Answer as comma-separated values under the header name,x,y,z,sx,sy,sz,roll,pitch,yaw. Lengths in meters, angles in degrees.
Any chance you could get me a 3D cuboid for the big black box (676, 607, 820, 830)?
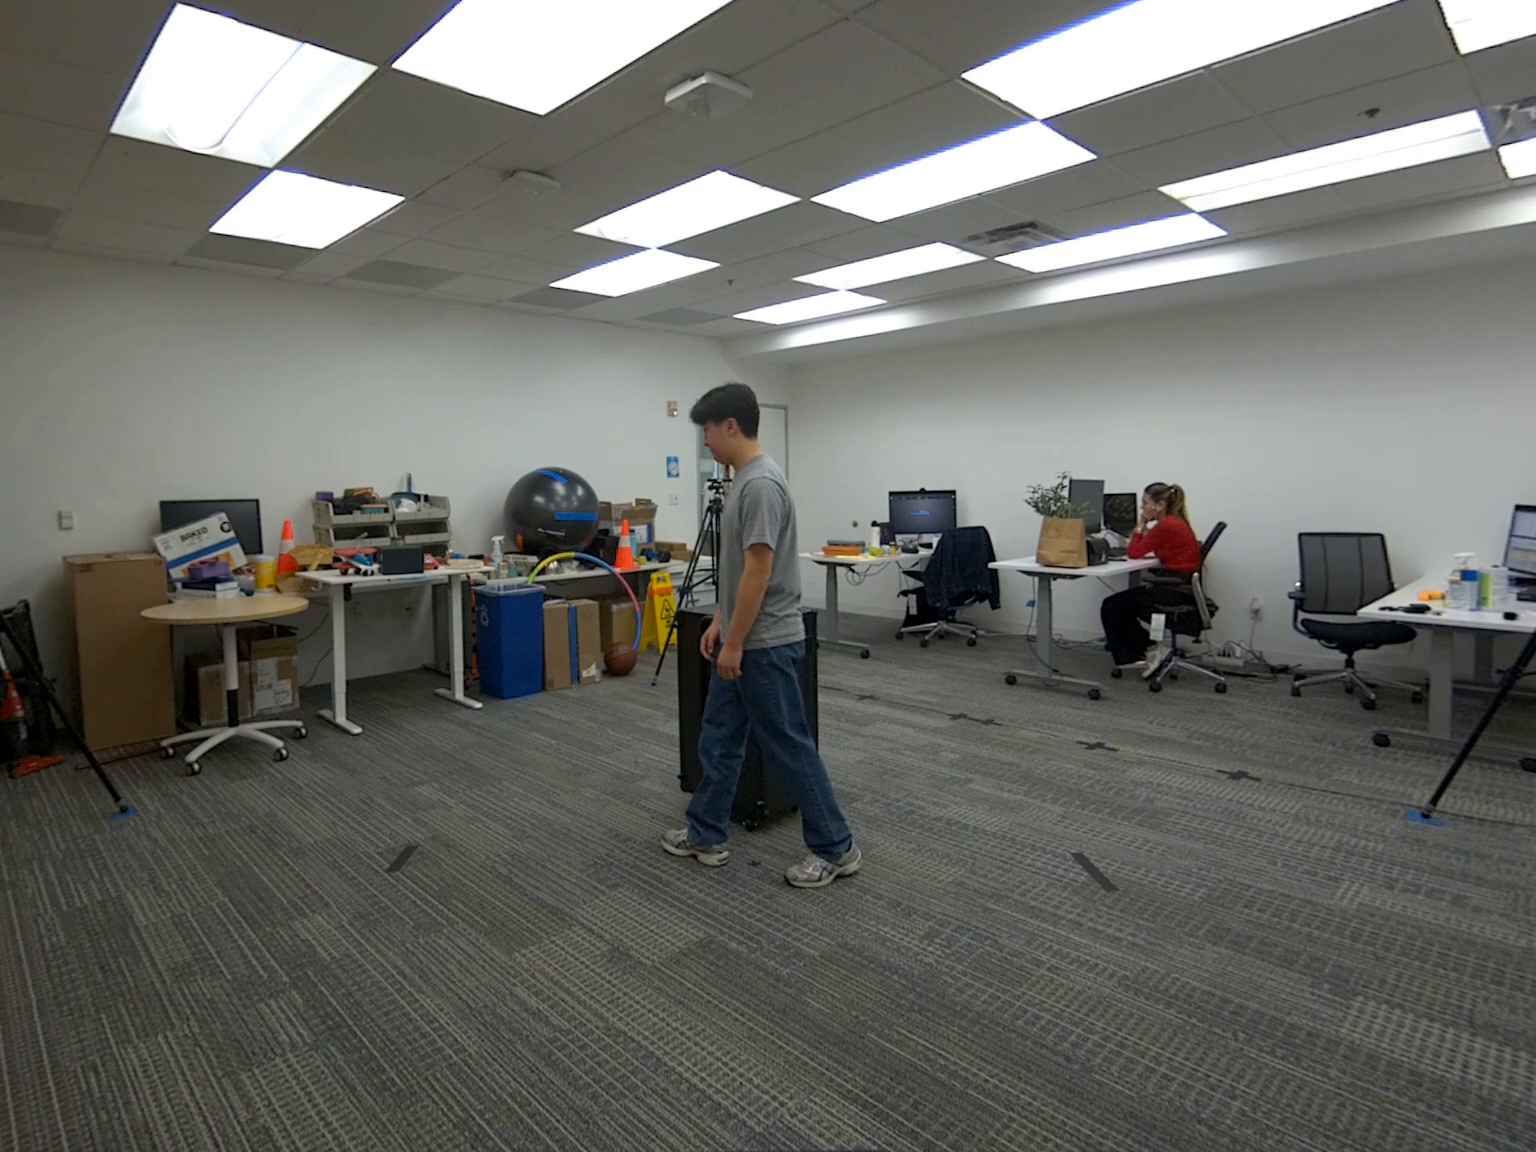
name,x,y,z,sx,sy,sz,roll,pitch,yaw
big black box,-0.089,0.565,3.589,0.537,0.858,0.386,4,6,43
